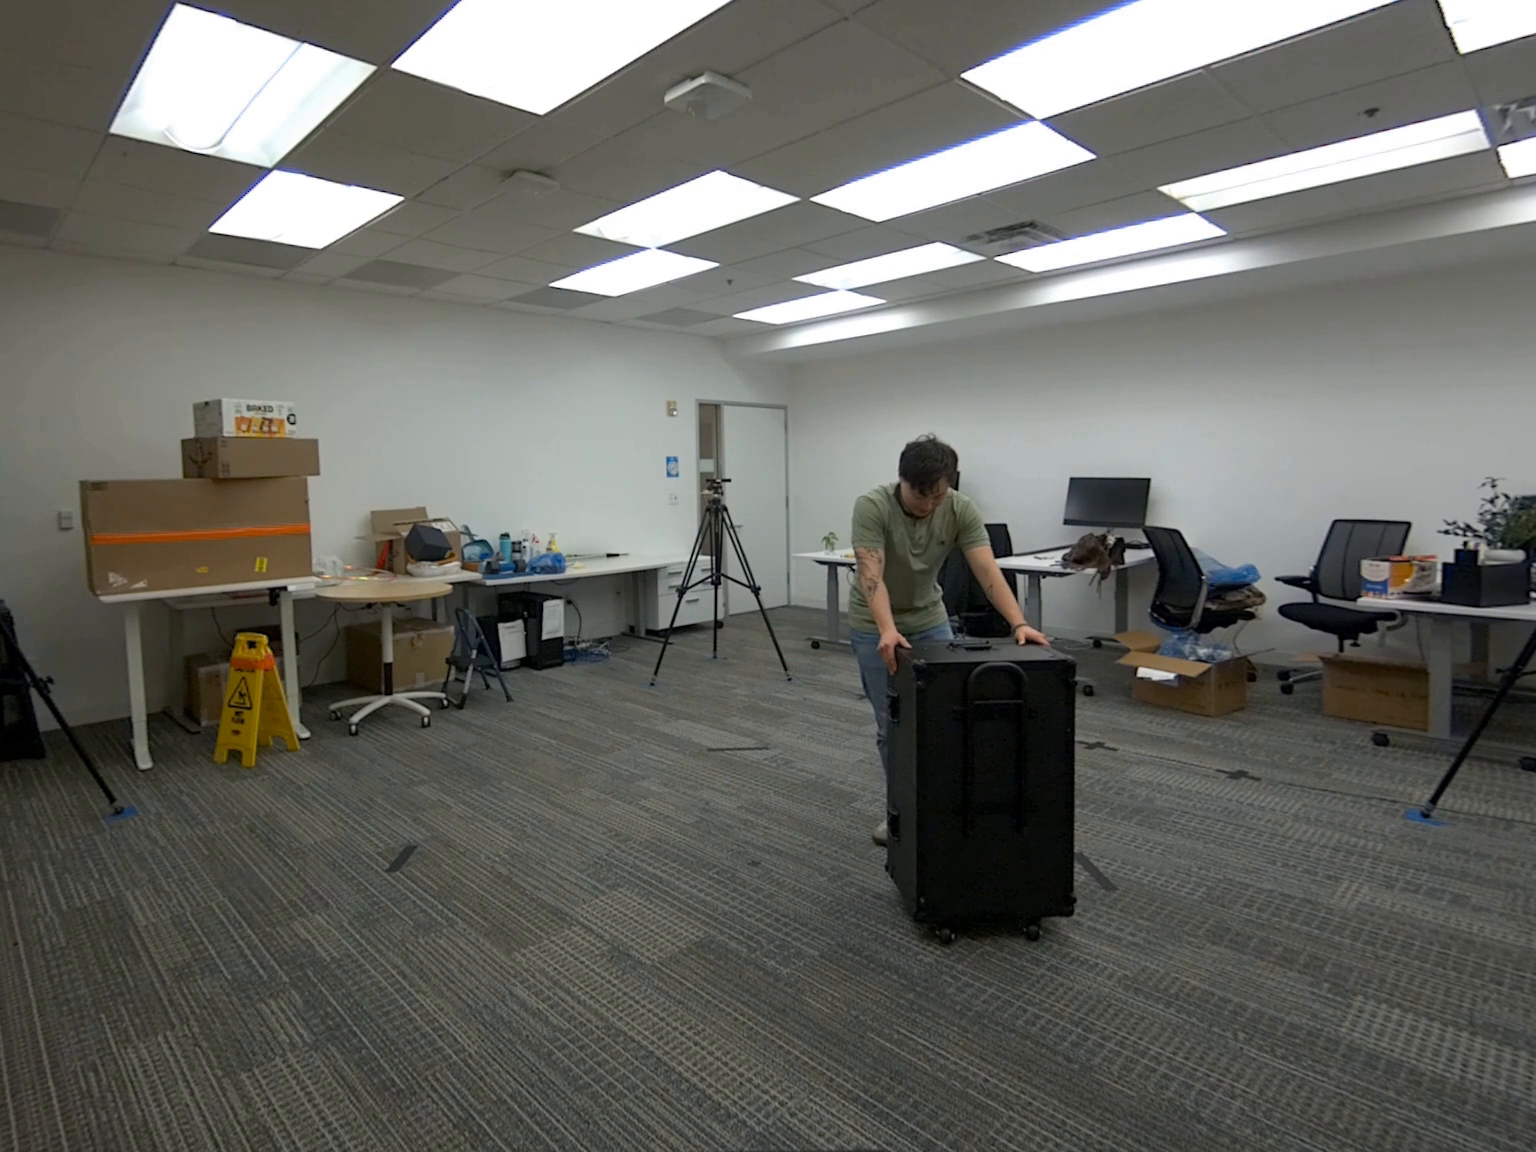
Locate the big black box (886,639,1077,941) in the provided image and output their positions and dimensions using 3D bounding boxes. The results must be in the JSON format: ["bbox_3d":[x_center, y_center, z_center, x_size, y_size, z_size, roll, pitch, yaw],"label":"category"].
[{"bbox_3d":[0.664,0.661,2.680,0.519,0.858,0.400,-1,5,-4],"label":"big black box"}]
